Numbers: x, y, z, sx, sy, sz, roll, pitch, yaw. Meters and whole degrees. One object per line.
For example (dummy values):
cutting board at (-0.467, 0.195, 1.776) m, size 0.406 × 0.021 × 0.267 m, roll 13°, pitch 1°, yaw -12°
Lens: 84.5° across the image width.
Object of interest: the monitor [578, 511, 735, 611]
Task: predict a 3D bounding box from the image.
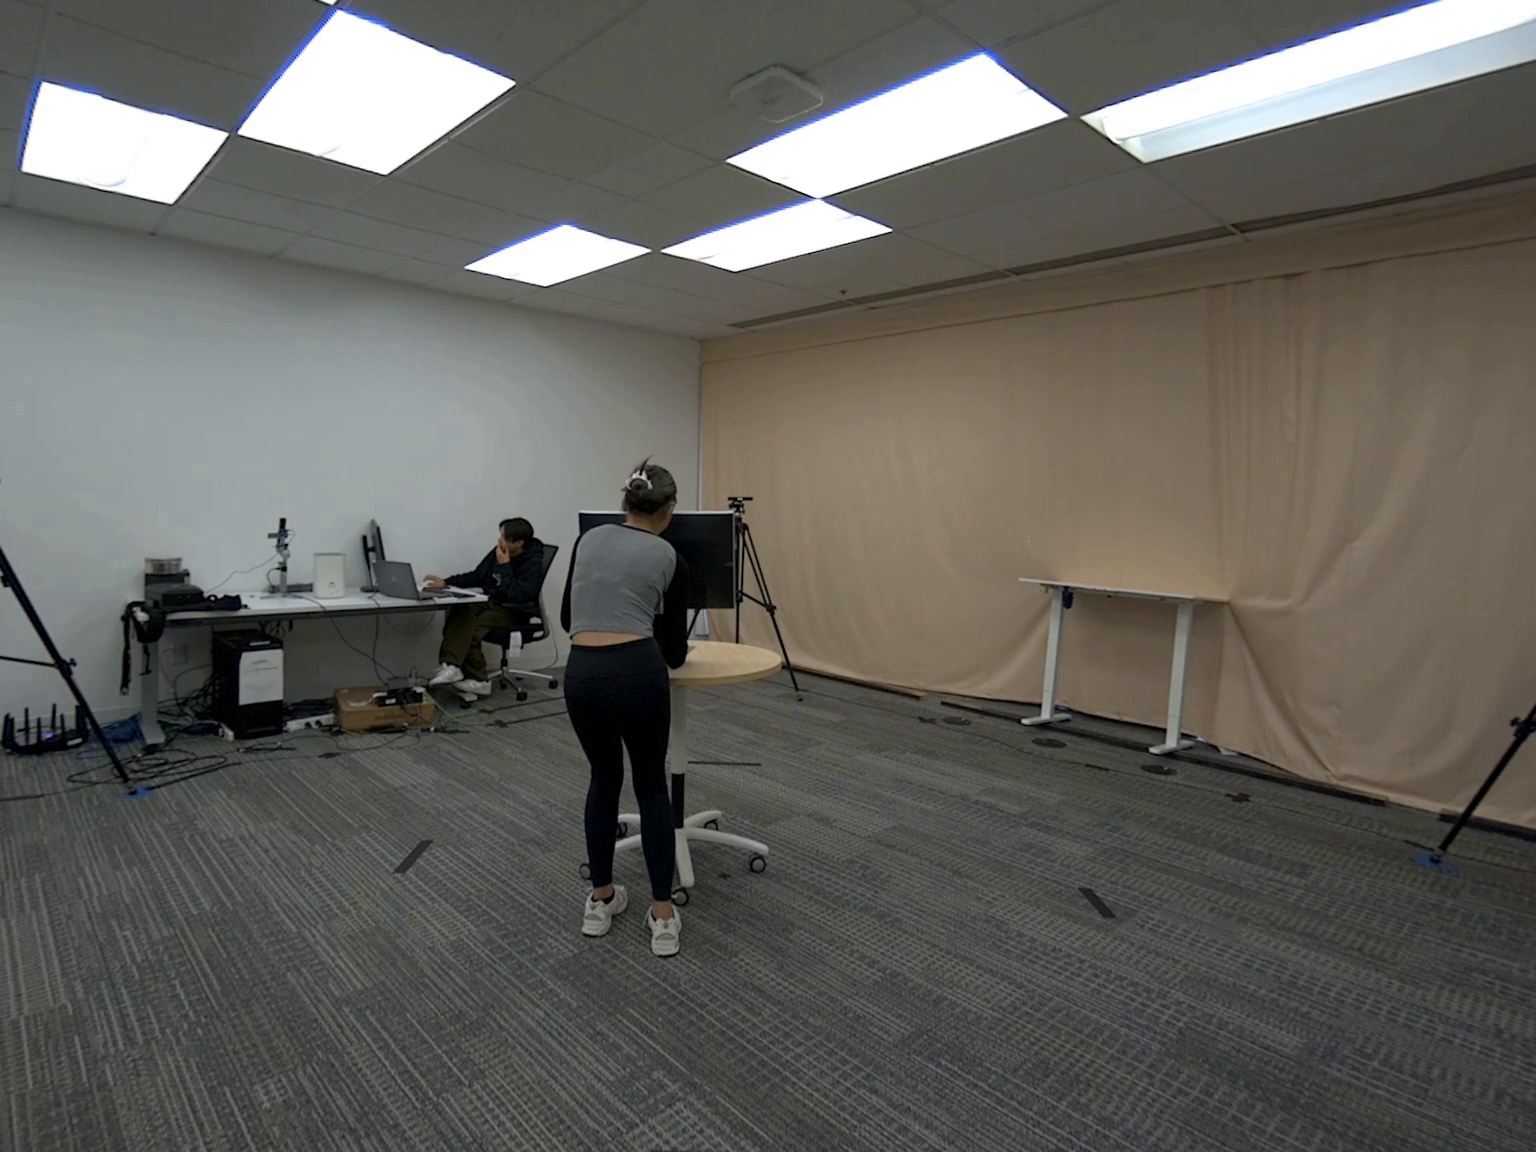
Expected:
monitor at (-0.389, 0.036, 2.994) m, size 0.540 × 0.522 × 0.187 m, roll 0°, pitch 1°, yaw 2°
